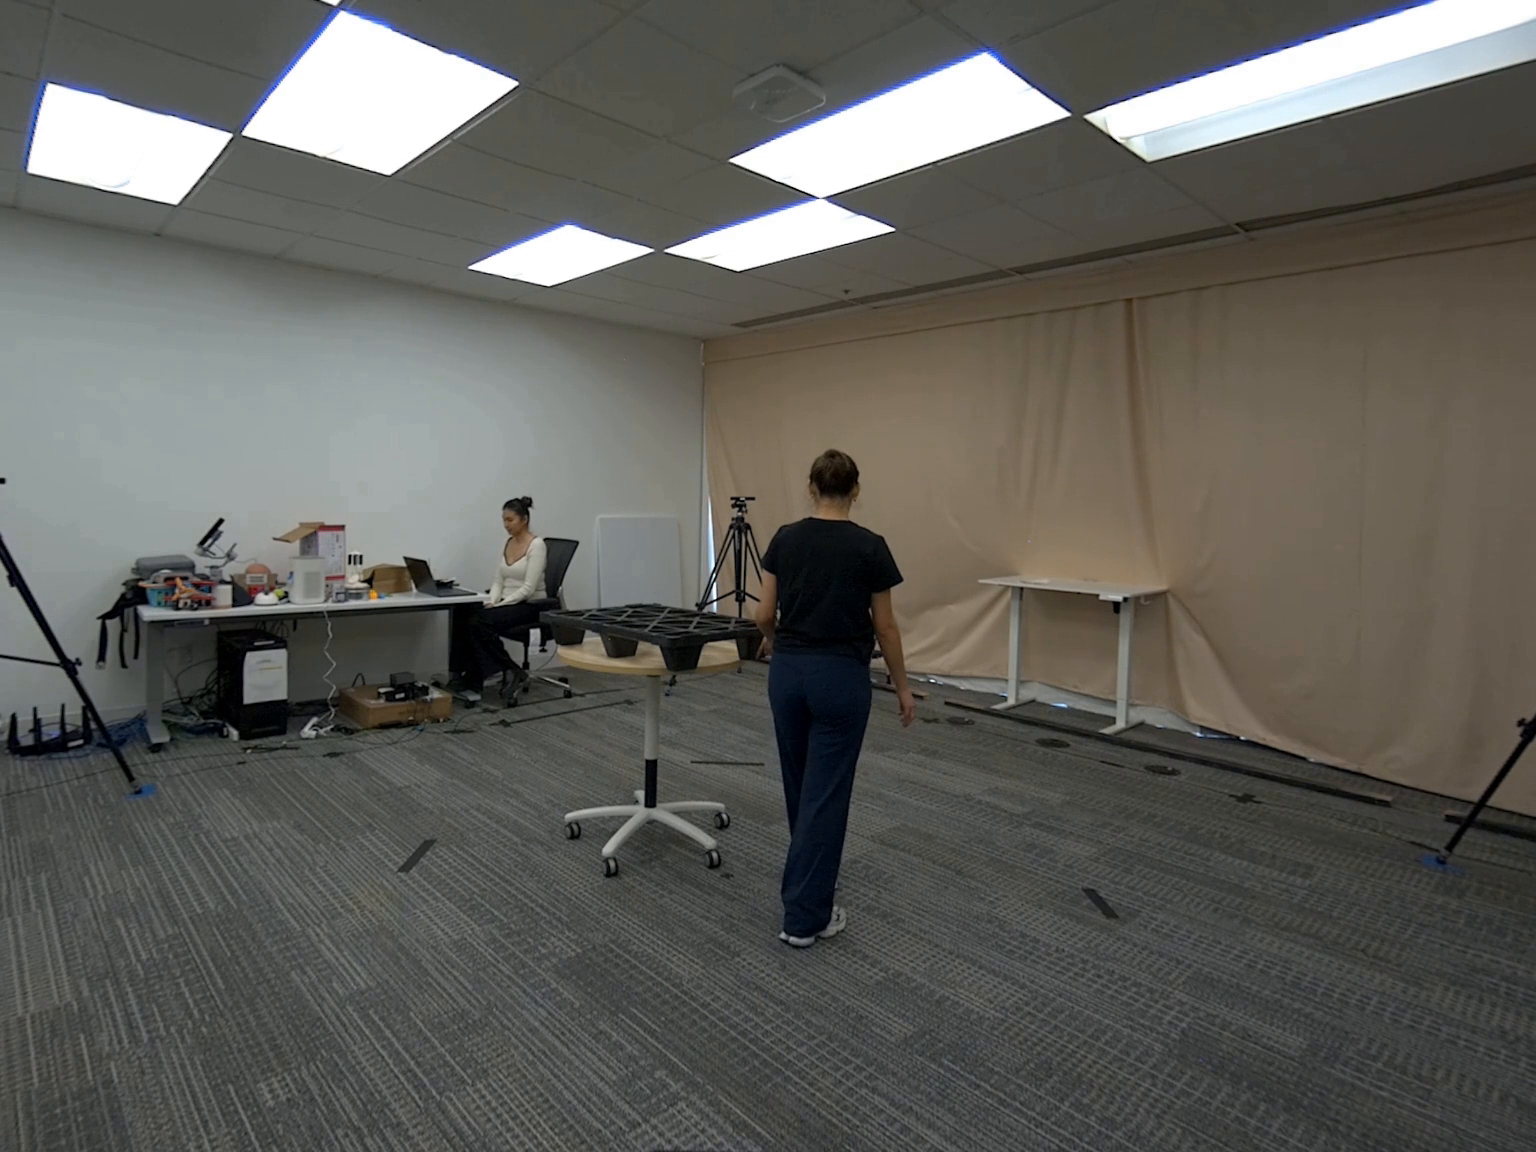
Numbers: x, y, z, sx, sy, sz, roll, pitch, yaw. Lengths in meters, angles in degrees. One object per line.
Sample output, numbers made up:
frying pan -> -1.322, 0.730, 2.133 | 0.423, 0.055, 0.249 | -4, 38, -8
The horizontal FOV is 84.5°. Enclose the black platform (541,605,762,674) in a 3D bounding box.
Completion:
black platform -> -0.438, 0.236, 3.330 | 0.826, 0.143, 0.591 | 7, 7, 43
